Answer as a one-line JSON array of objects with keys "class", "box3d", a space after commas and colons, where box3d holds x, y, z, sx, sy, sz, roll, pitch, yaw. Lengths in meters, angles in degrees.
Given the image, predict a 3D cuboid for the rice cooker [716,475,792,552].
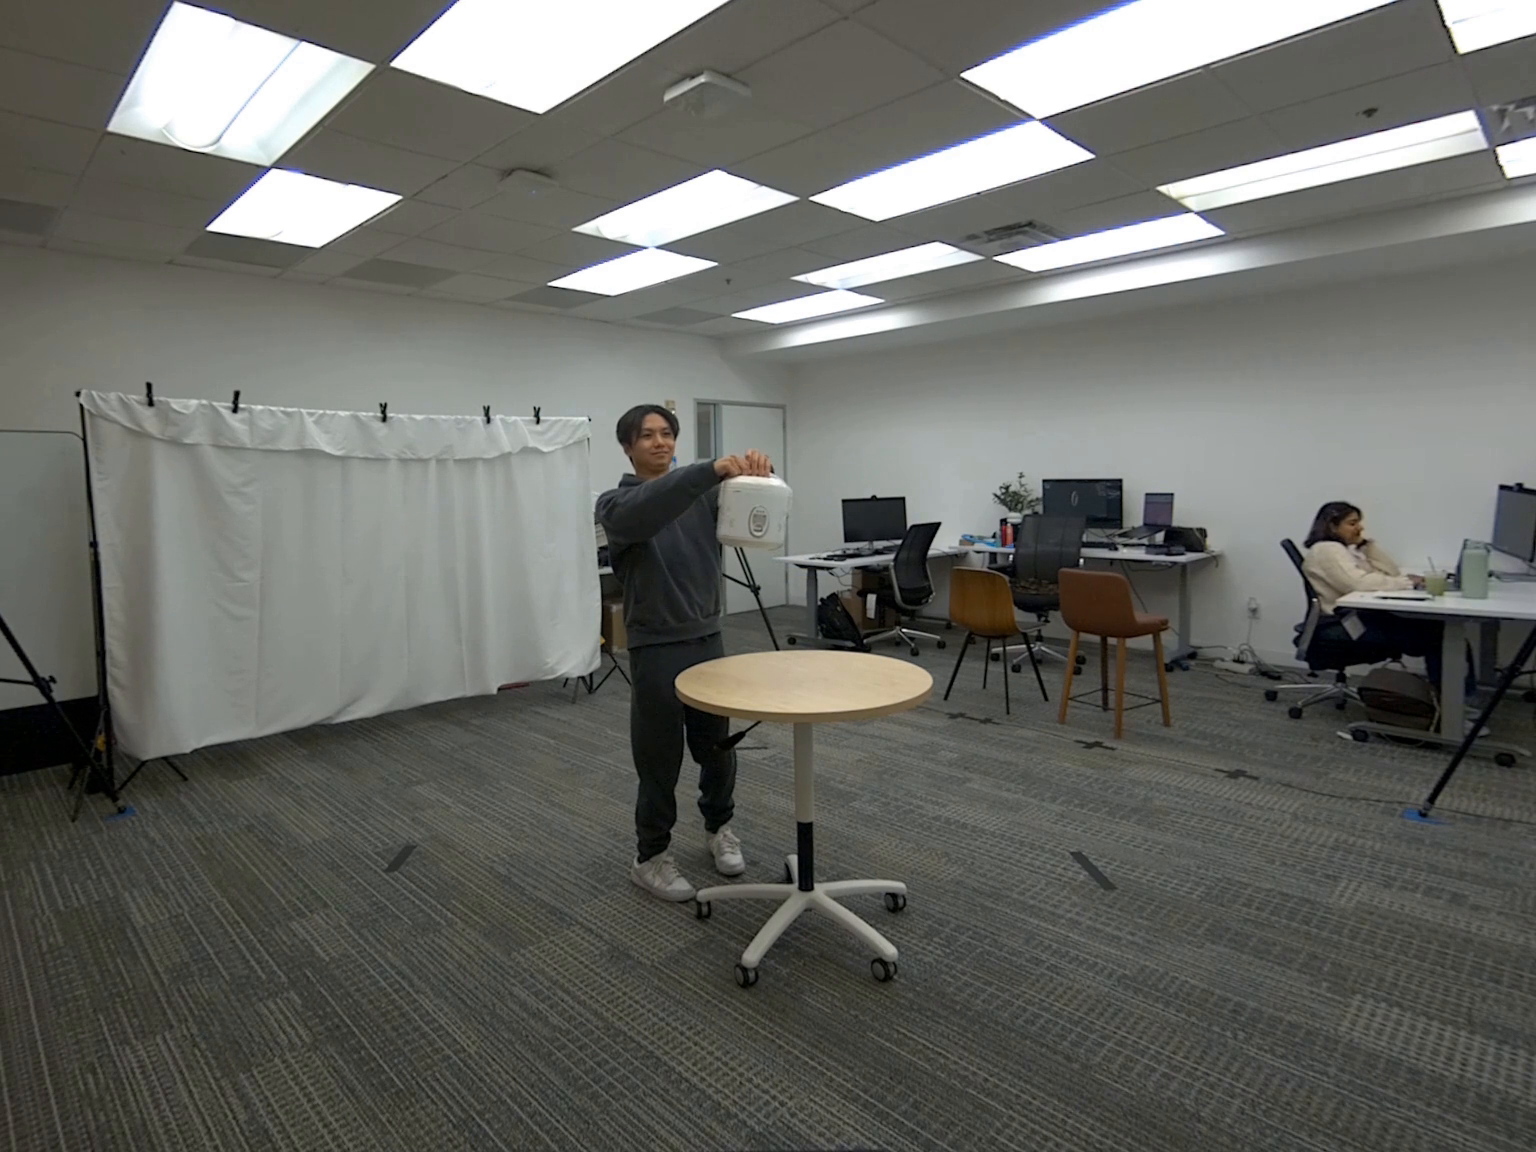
[{"class": "rice cooker", "box3d": [-0.037, -0.193, 2.528, 0.218, 0.233, 0.219, 4, 0, -10]}]
